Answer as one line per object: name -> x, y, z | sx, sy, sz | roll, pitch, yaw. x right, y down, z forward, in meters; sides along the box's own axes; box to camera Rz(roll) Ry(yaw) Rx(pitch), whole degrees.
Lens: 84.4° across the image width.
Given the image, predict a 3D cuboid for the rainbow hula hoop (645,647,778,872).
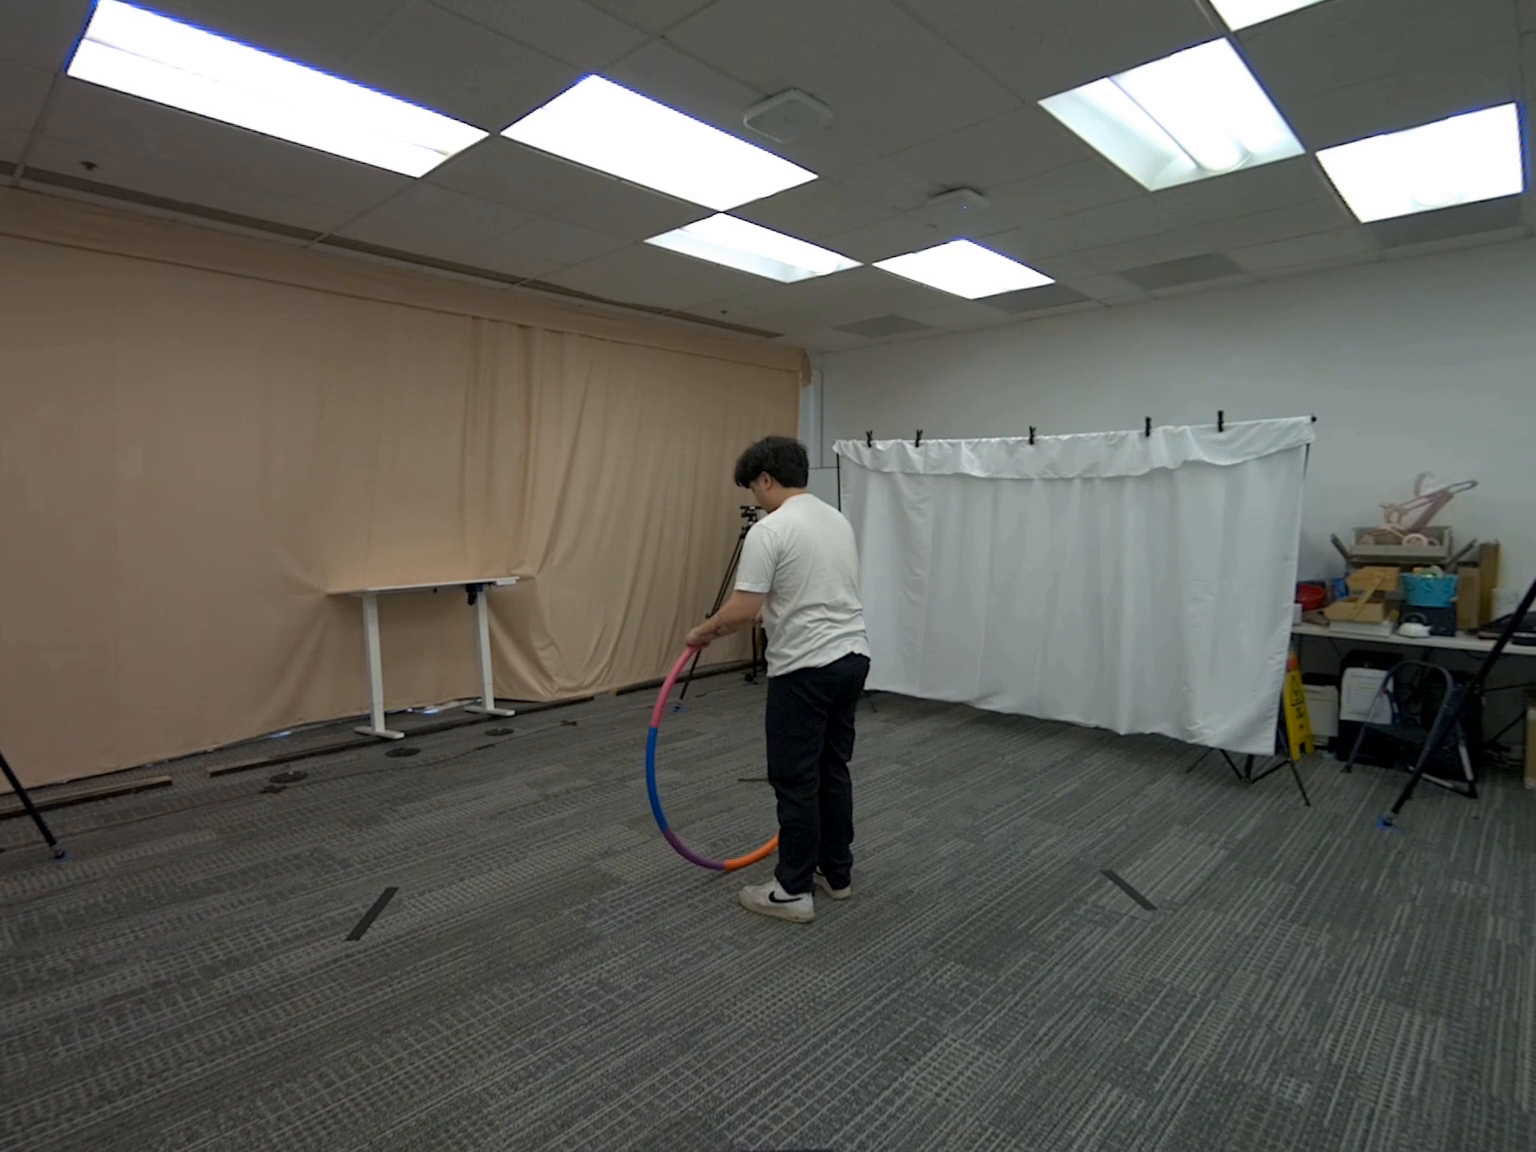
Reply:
rainbow hula hoop -> -0.078, 0.633, 3.238 | 0.955, 0.983, 0.053 | -3, 6, -43
